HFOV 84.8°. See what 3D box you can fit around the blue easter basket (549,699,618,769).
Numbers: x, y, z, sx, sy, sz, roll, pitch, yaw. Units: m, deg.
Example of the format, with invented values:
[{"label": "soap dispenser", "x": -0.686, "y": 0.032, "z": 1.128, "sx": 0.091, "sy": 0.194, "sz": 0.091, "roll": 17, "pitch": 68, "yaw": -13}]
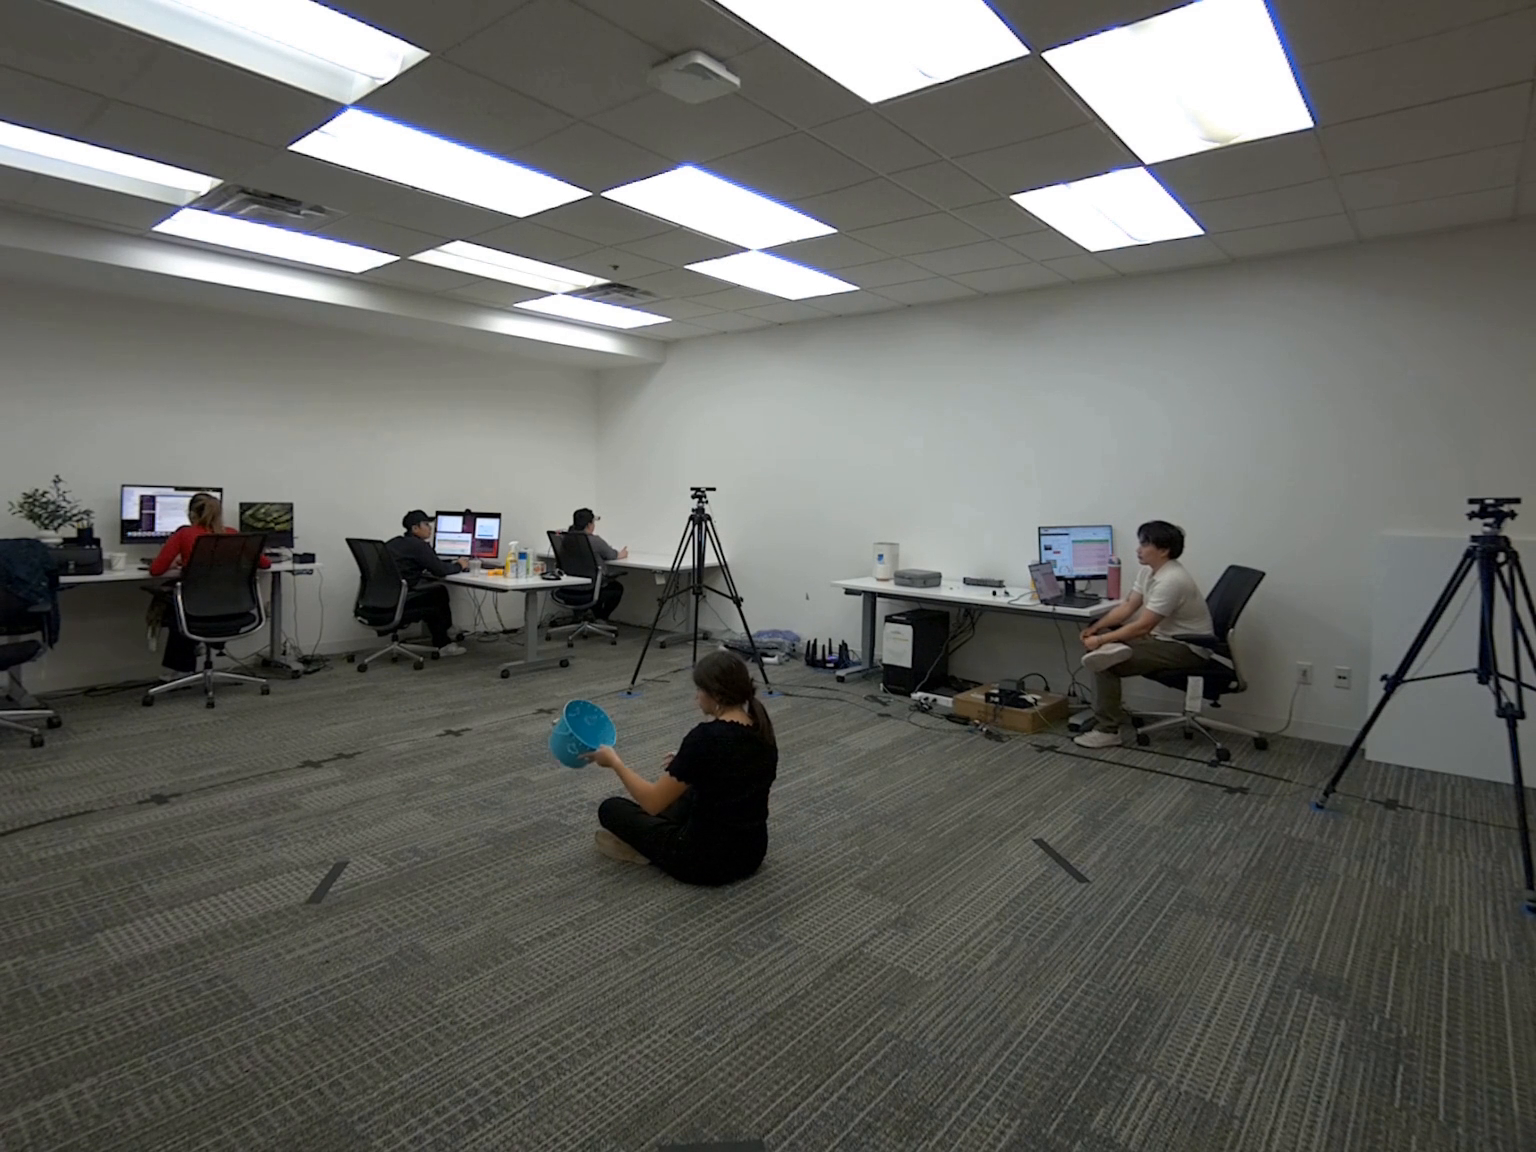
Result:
[{"label": "blue easter basket", "x": -0.717, "y": 0.608, "z": 3.201, "sx": 0.237, "sy": 0.156, "sz": 0.250, "roll": 33, "pitch": 25, "yaw": -20}]
